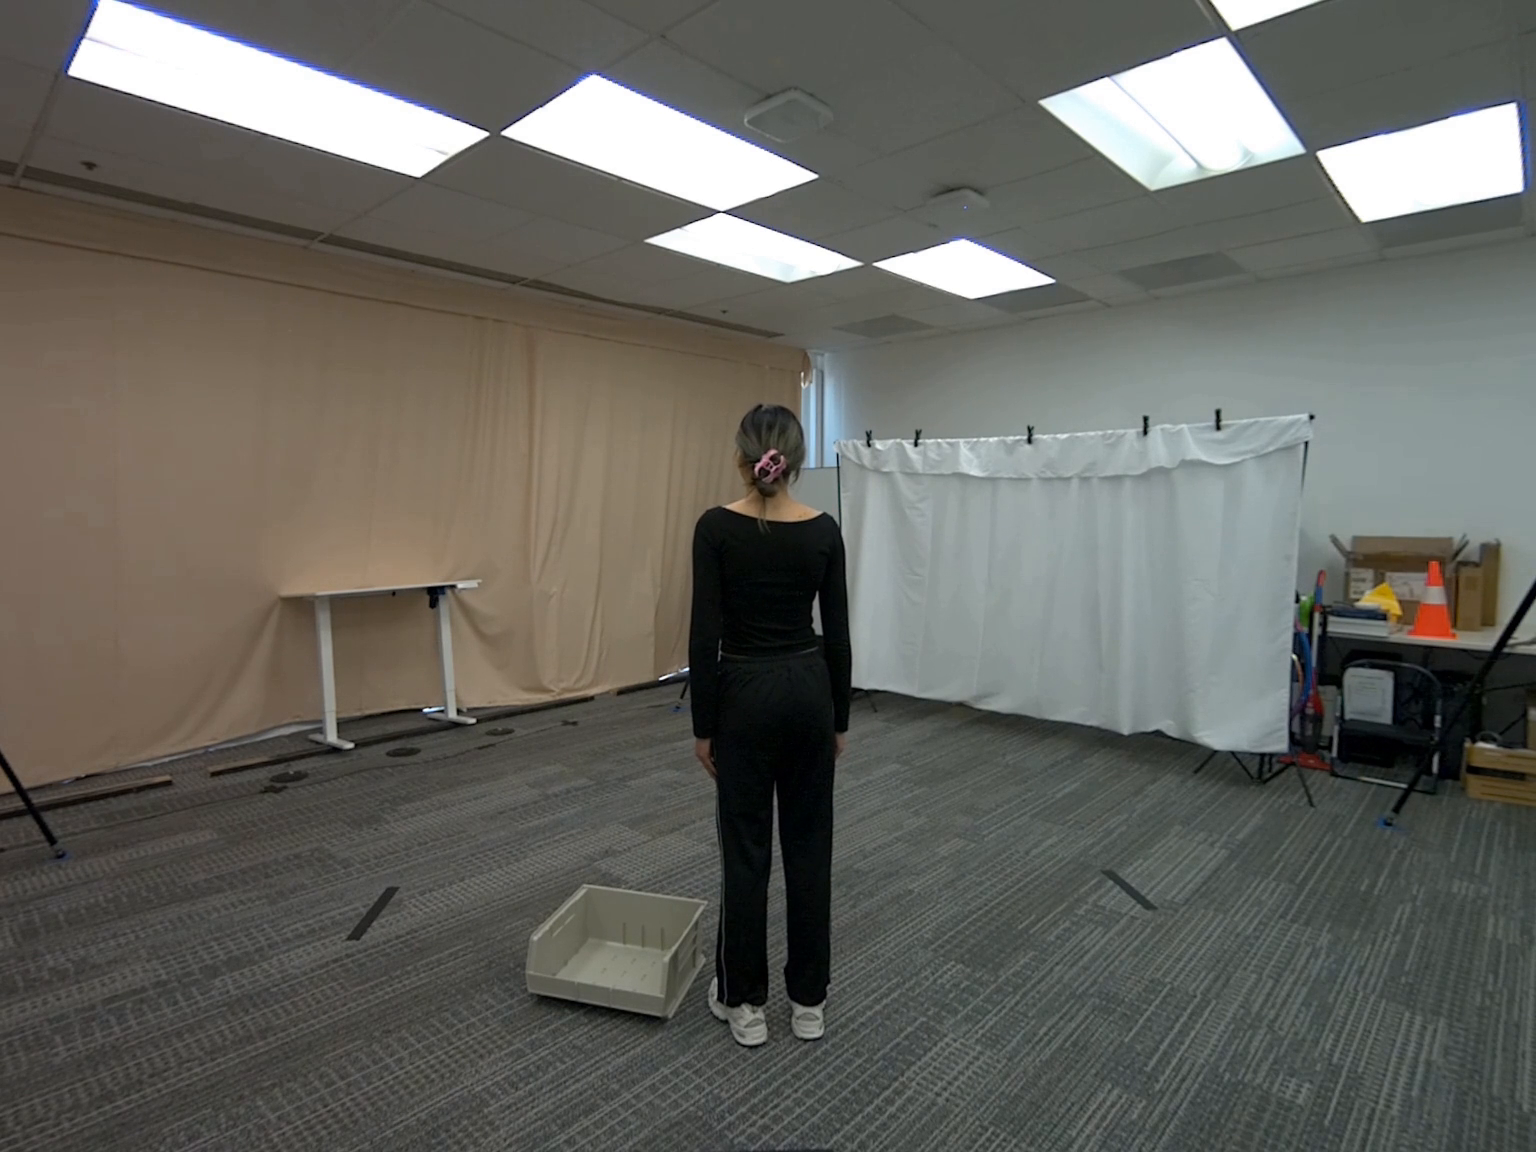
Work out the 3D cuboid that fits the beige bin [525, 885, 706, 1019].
[{"bbox_3d":[-0.431,1.104,2.464,0.430,0.189,0.371,1,3,16],"label":"beige bin"}]
